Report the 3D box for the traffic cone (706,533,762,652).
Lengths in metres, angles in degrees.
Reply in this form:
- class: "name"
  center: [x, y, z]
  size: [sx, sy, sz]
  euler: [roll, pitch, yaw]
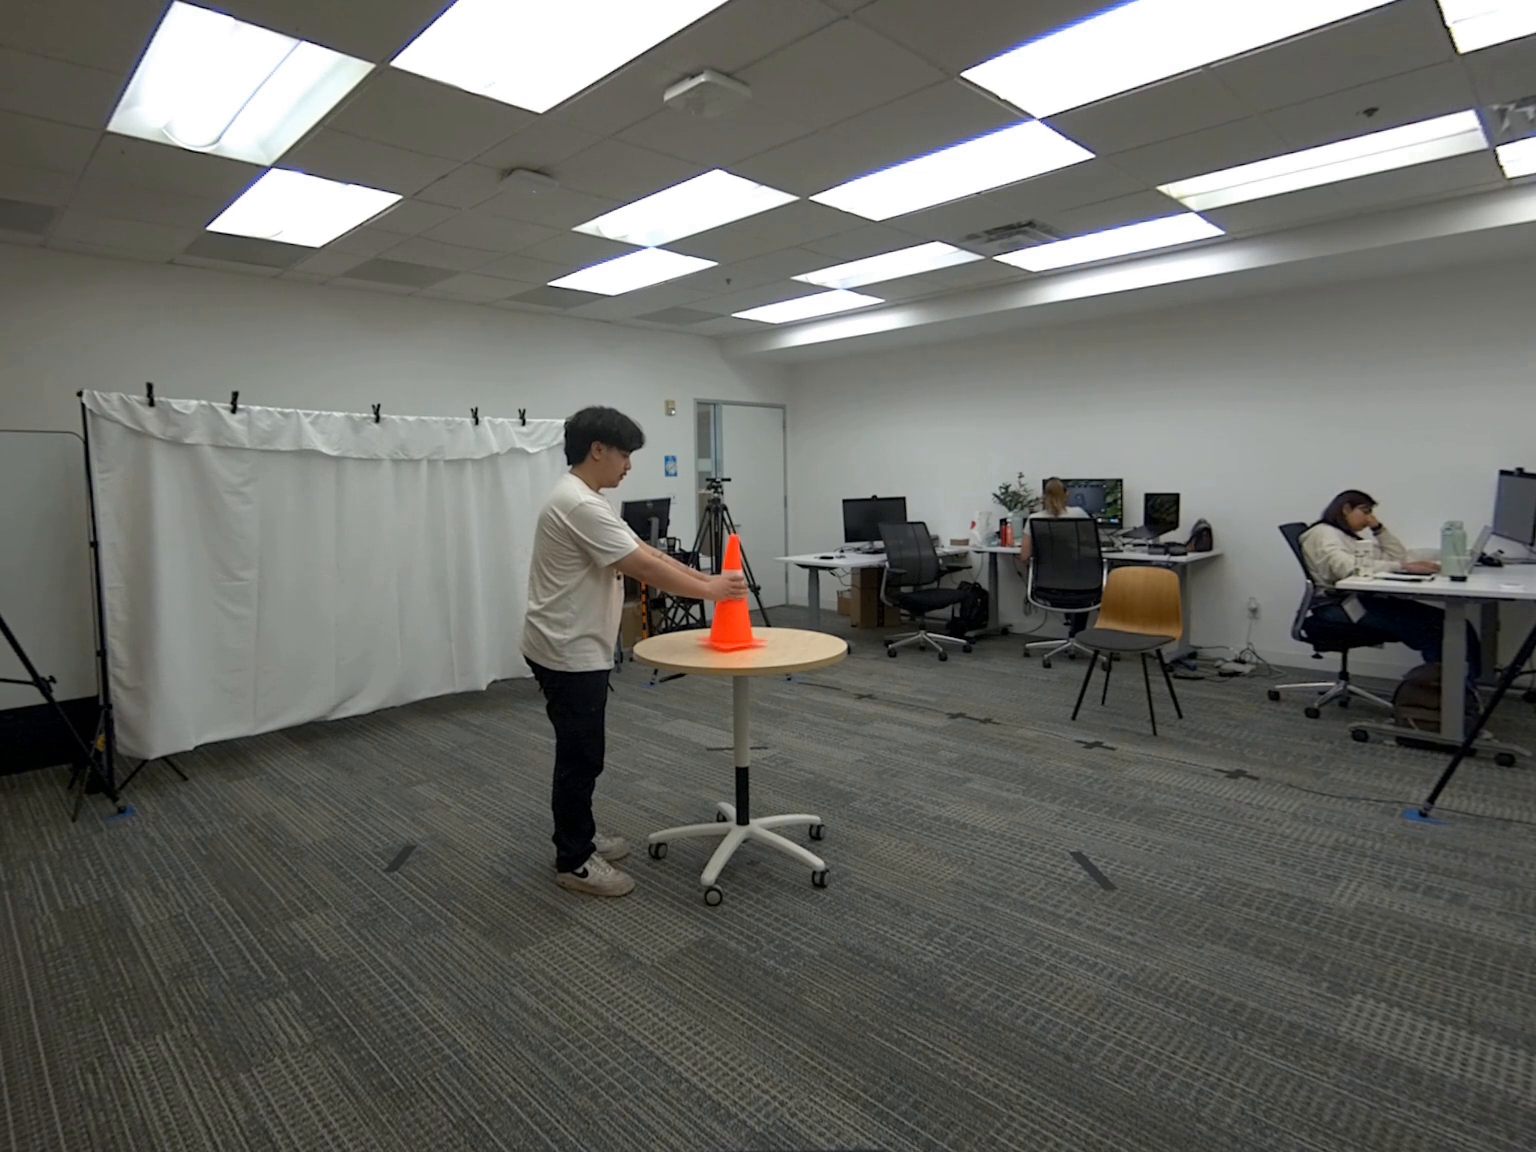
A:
- class: "traffic cone"
  center: [-0.134, 0.045, 3.051]
  size: [0.209, 0.383, 0.199]
  euler: [3, 4, 43]
